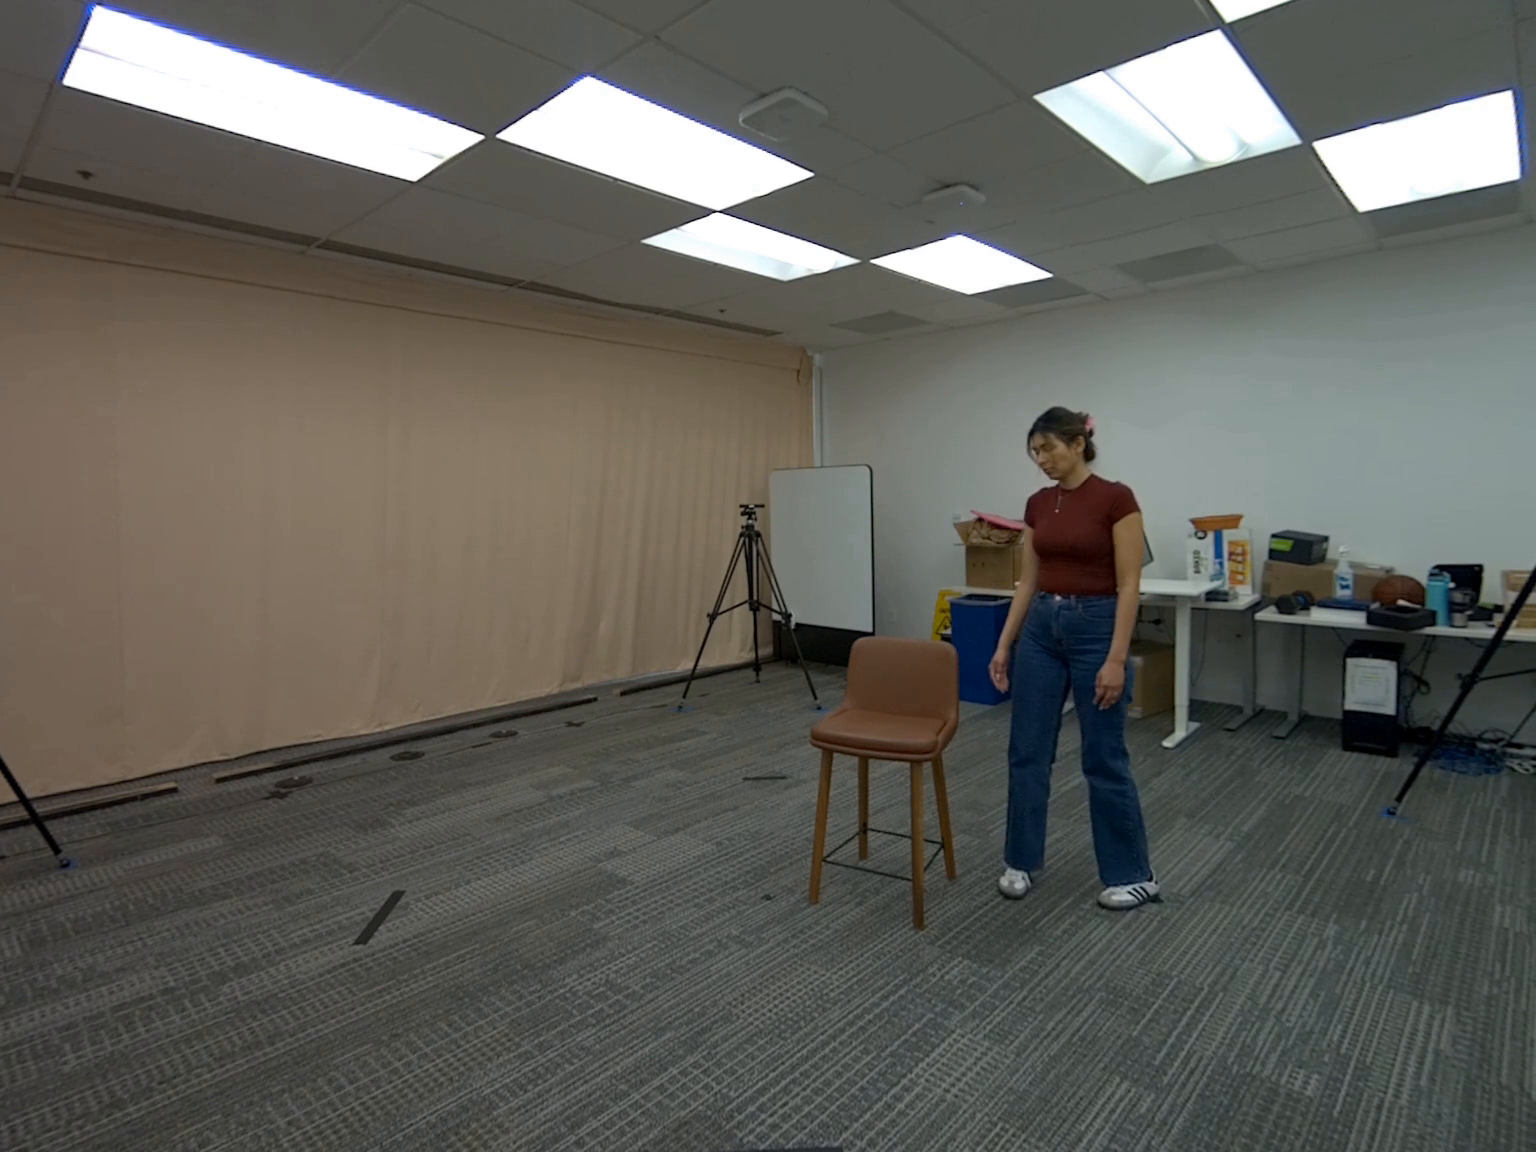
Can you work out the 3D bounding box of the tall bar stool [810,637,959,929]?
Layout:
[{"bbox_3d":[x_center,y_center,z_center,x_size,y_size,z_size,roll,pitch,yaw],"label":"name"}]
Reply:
[{"bbox_3d":[0.430,0.700,3.003,0.470,0.888,0.455,2,3,30],"label":"tall bar stool"}]
